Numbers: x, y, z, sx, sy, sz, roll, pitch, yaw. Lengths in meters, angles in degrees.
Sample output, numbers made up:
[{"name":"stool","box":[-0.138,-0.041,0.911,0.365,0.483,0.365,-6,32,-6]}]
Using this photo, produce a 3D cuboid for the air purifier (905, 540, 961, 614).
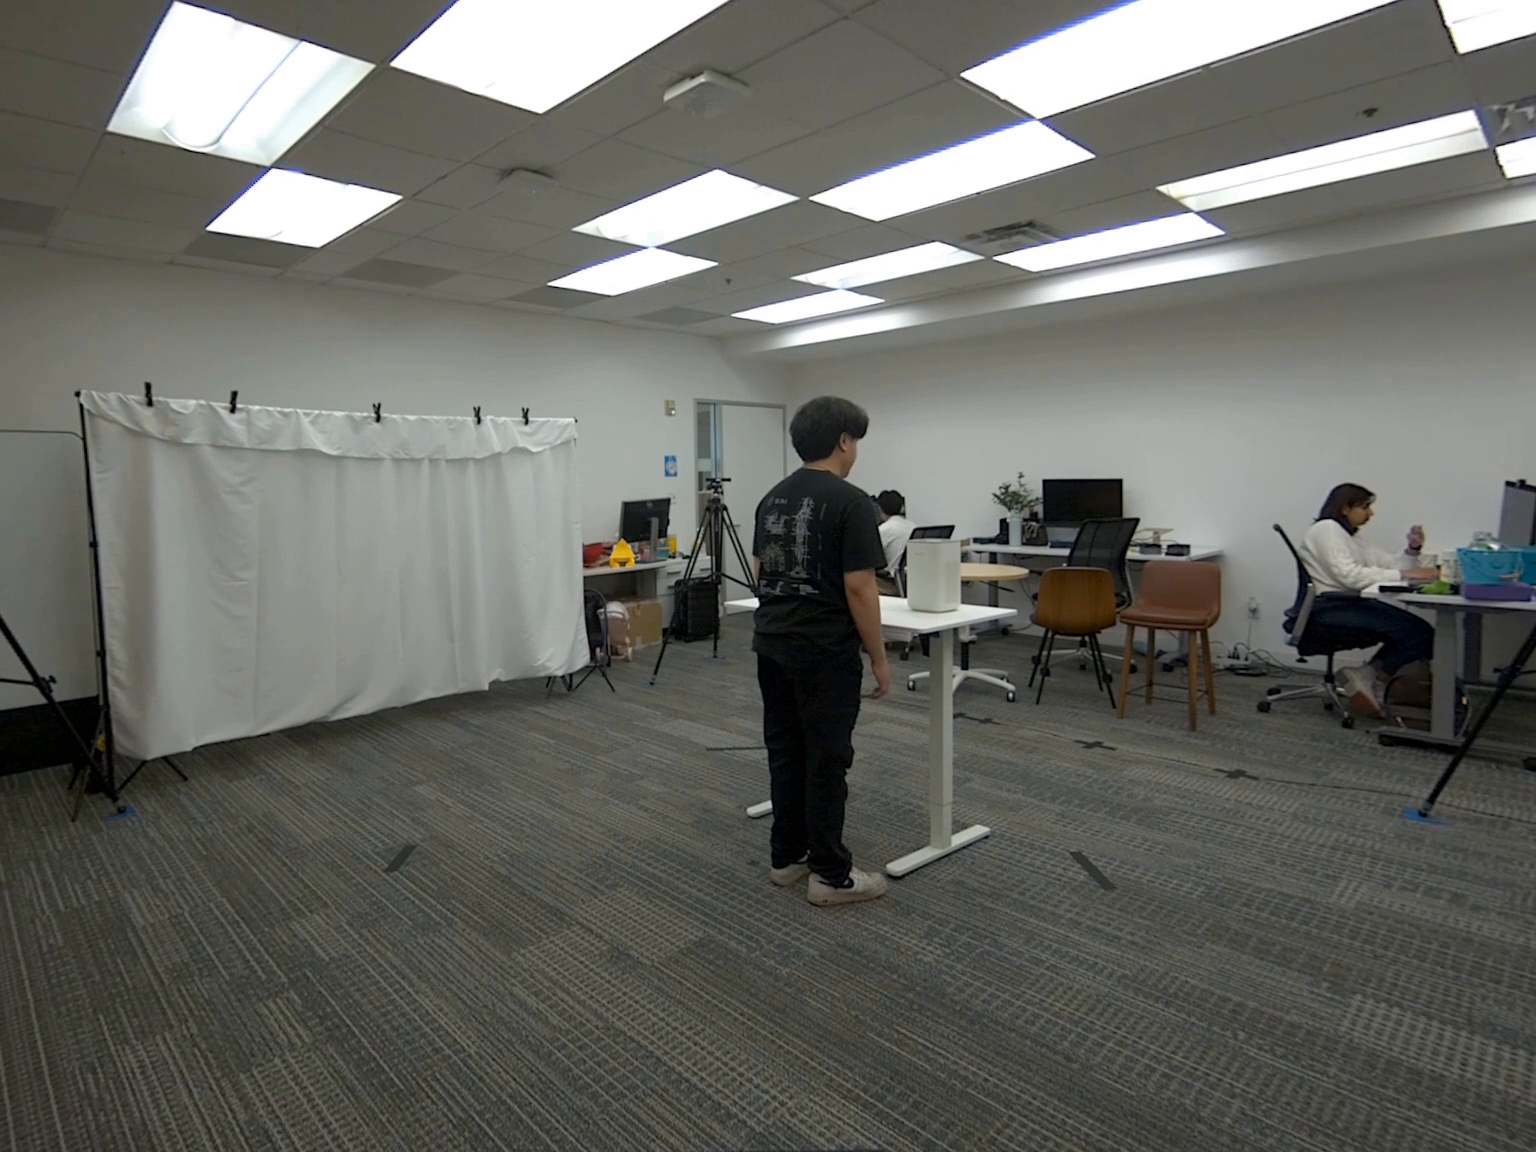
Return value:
[{"name":"air purifier","box":[0.637,-0.005,3.246,0.167,0.265,0.176,-2,2,-42]}]
